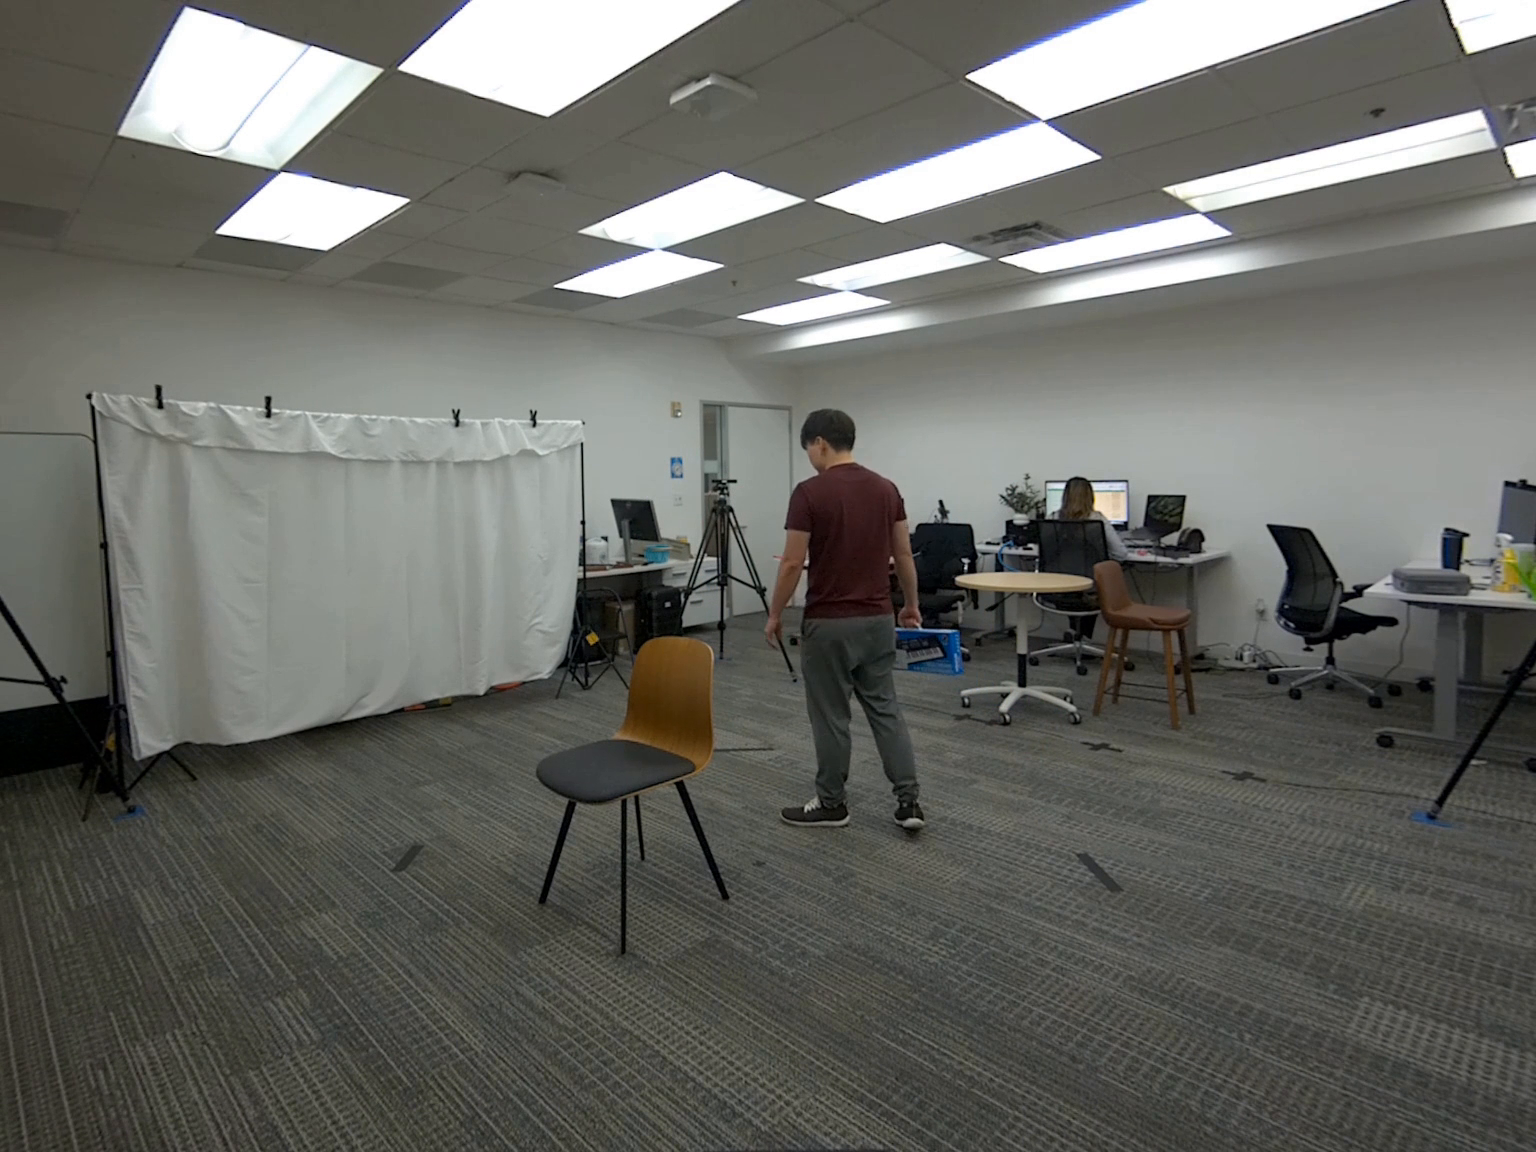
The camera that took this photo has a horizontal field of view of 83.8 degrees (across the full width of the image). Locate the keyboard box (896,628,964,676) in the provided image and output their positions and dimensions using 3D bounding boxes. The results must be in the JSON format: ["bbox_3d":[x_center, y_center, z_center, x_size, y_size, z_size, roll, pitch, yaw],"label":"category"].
[{"bbox_3d":[0.607,0.314,3.582,0.057,0.176,0.448,-7,3,-39],"label":"keyboard box"}]
